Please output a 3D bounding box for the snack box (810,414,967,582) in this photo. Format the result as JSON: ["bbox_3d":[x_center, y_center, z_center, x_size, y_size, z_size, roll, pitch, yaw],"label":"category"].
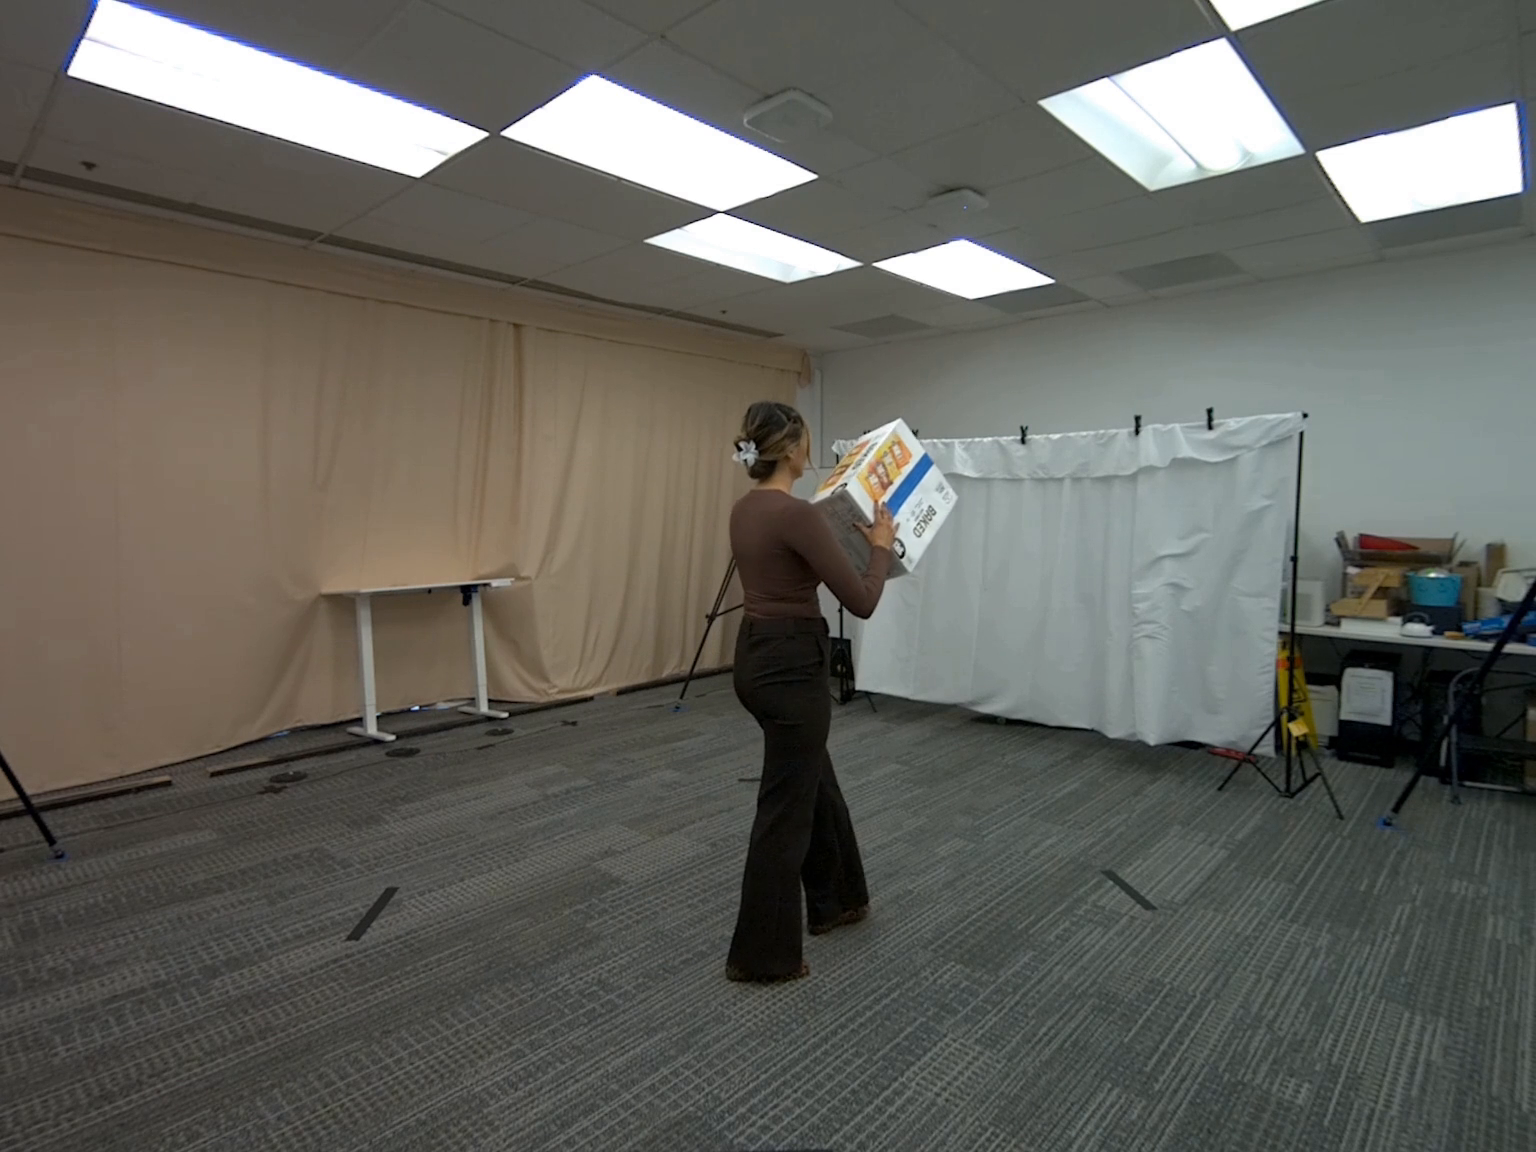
[{"bbox_3d":[0.389,-0.245,2.742,0.210,0.335,0.403,-22,23,52],"label":"snack box"}]
